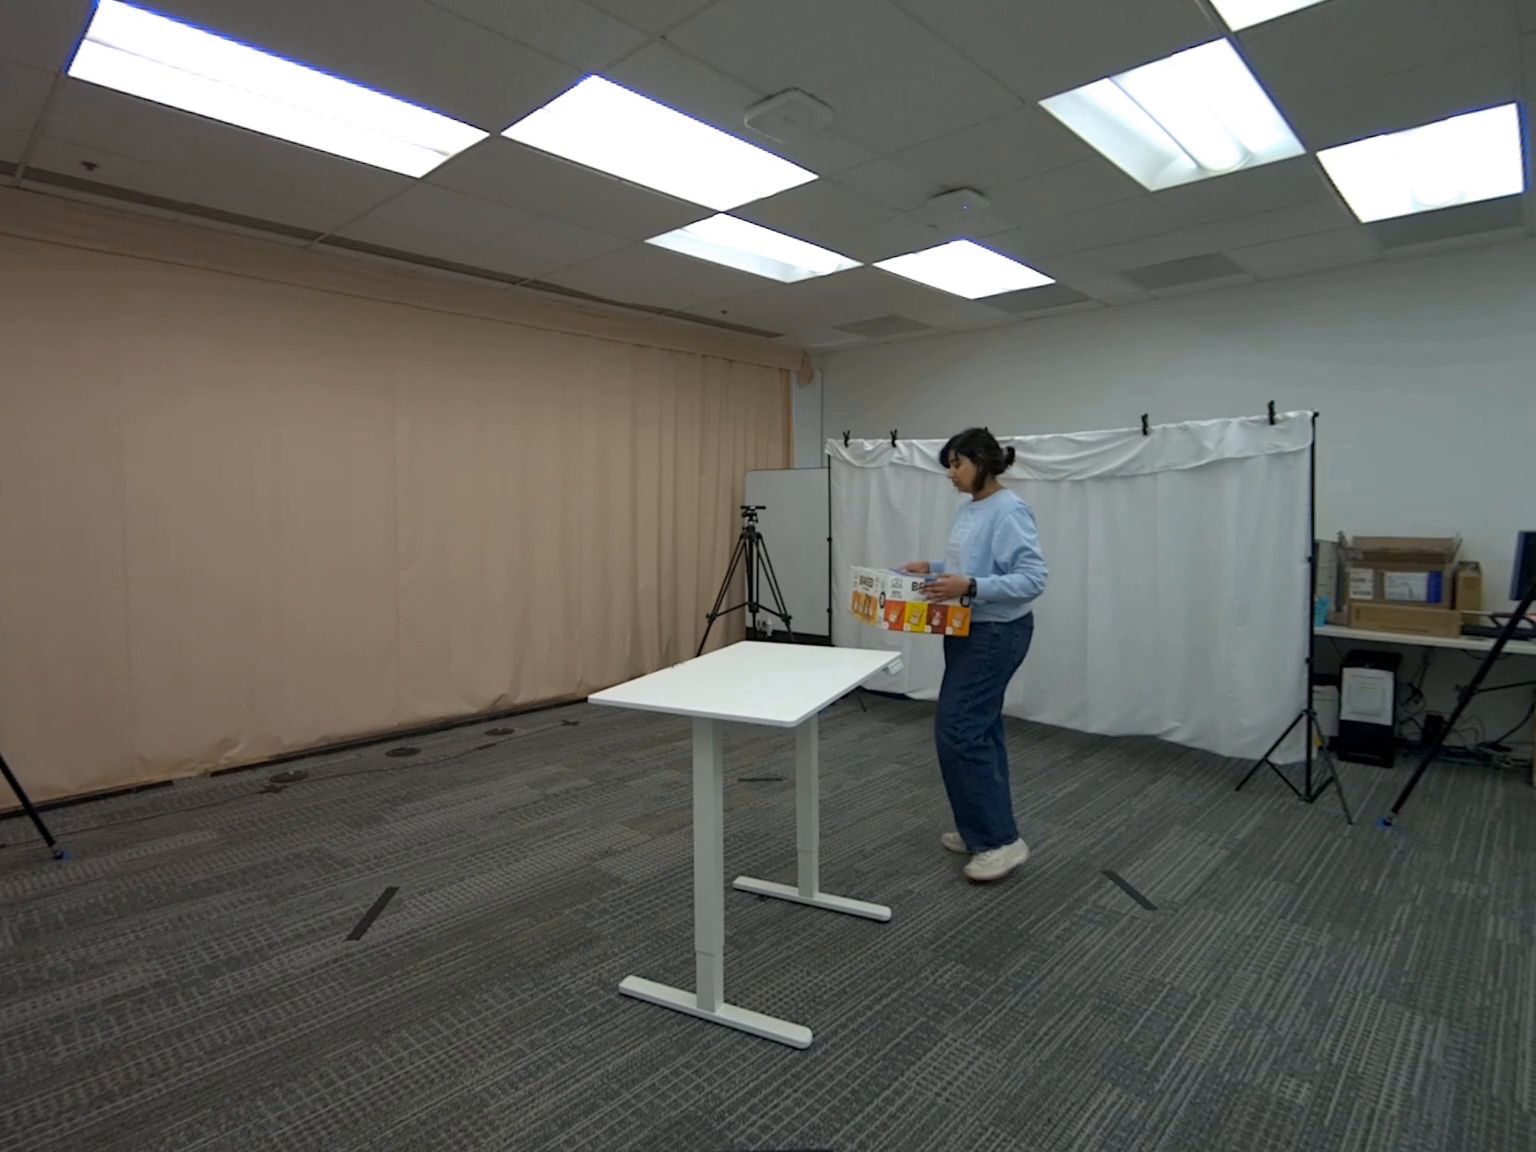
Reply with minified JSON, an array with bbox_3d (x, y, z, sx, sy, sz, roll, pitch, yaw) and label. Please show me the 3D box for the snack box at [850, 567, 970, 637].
[{"bbox_3d":[0.544,0.094,3.290,0.336,0.205,0.411,4,4,-12],"label":"snack box"}]
